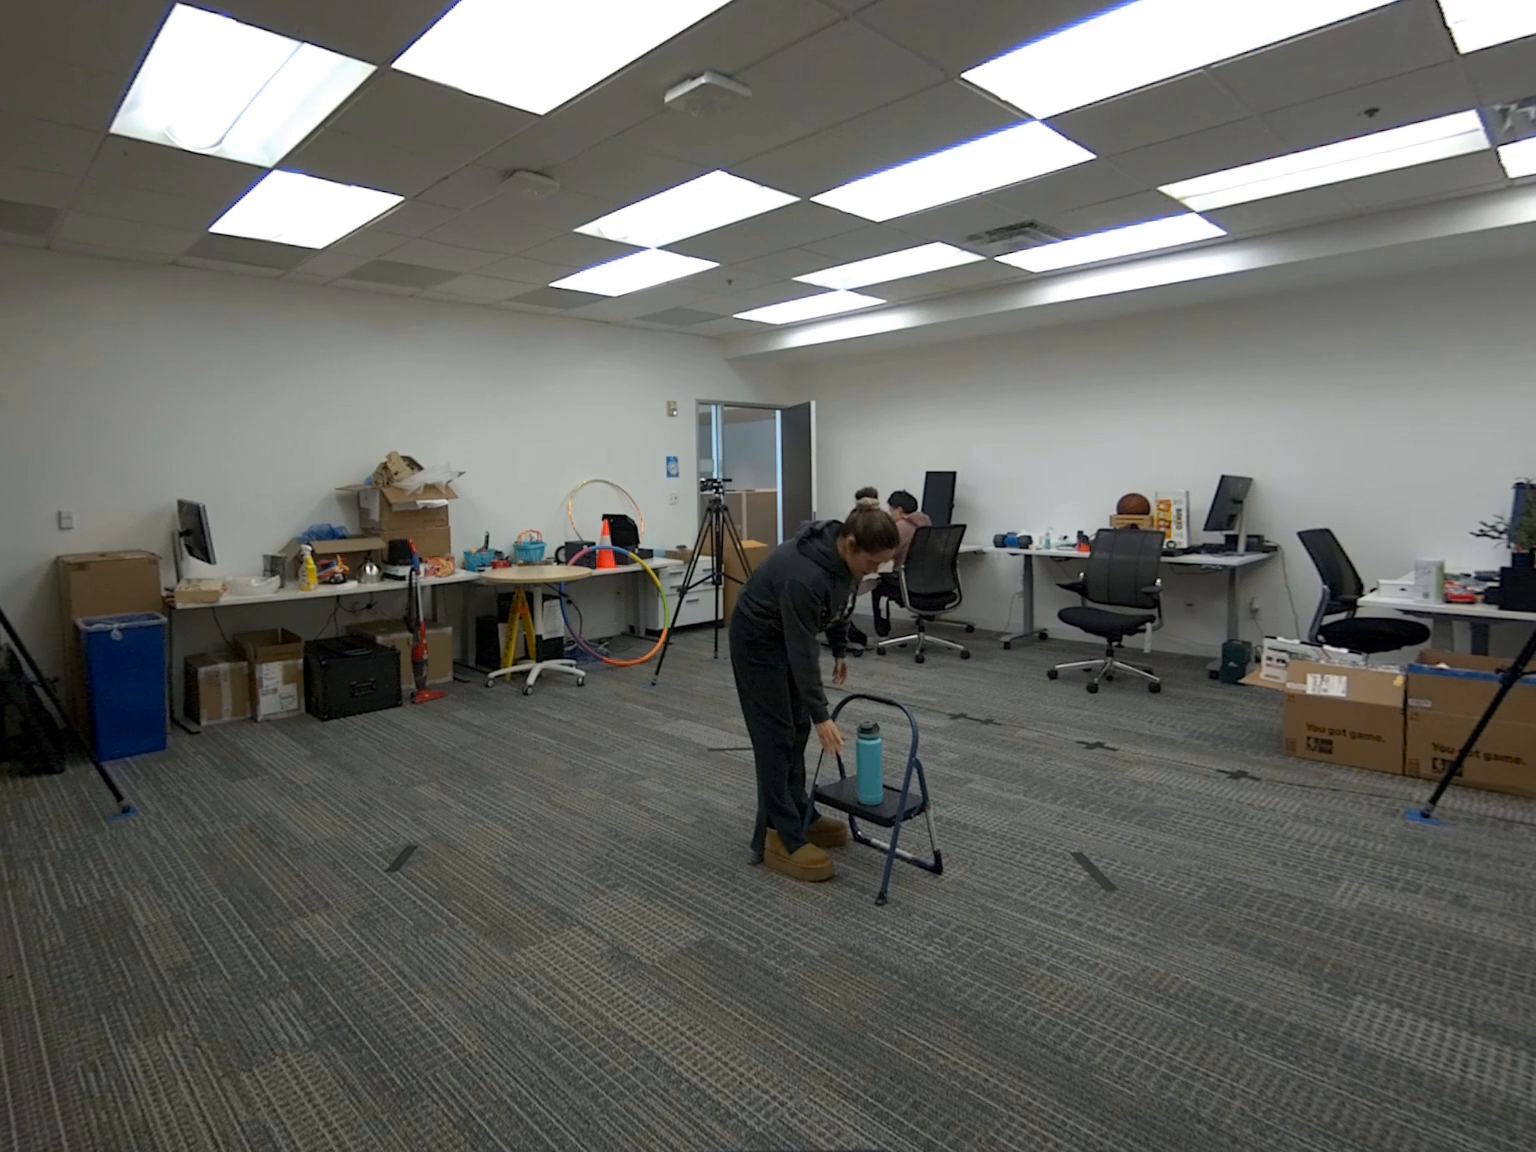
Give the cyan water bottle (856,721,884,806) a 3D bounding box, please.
[{"bbox_3d":[0.358,0.653,2.980,0.092,0.282,0.093,-2,6,-1],"label":"cyan water bottle"}]
